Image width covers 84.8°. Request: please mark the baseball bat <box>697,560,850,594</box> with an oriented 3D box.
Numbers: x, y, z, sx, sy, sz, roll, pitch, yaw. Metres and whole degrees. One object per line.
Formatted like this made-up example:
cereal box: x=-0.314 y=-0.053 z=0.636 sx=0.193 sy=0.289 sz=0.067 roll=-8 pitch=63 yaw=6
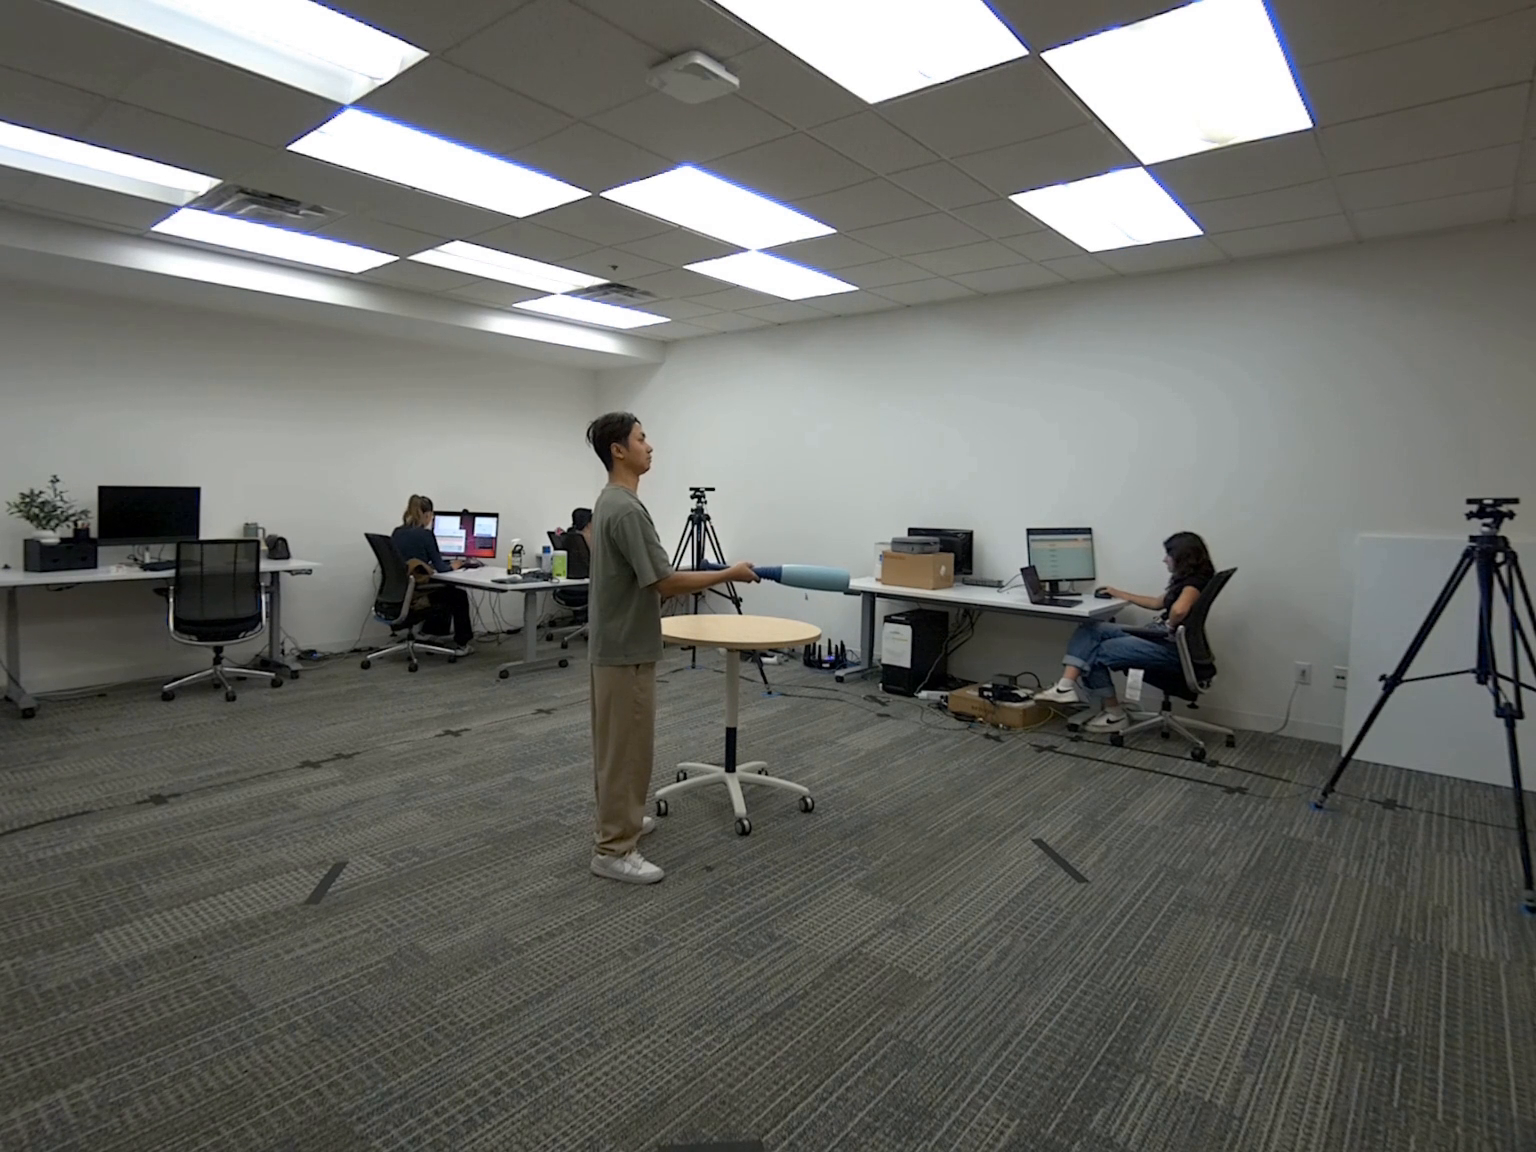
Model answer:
baseball bat: x=0.016 y=-0.002 z=3.085 sx=0.542 sy=0.089 sz=0.089 roll=5 pitch=4 yaw=-1
